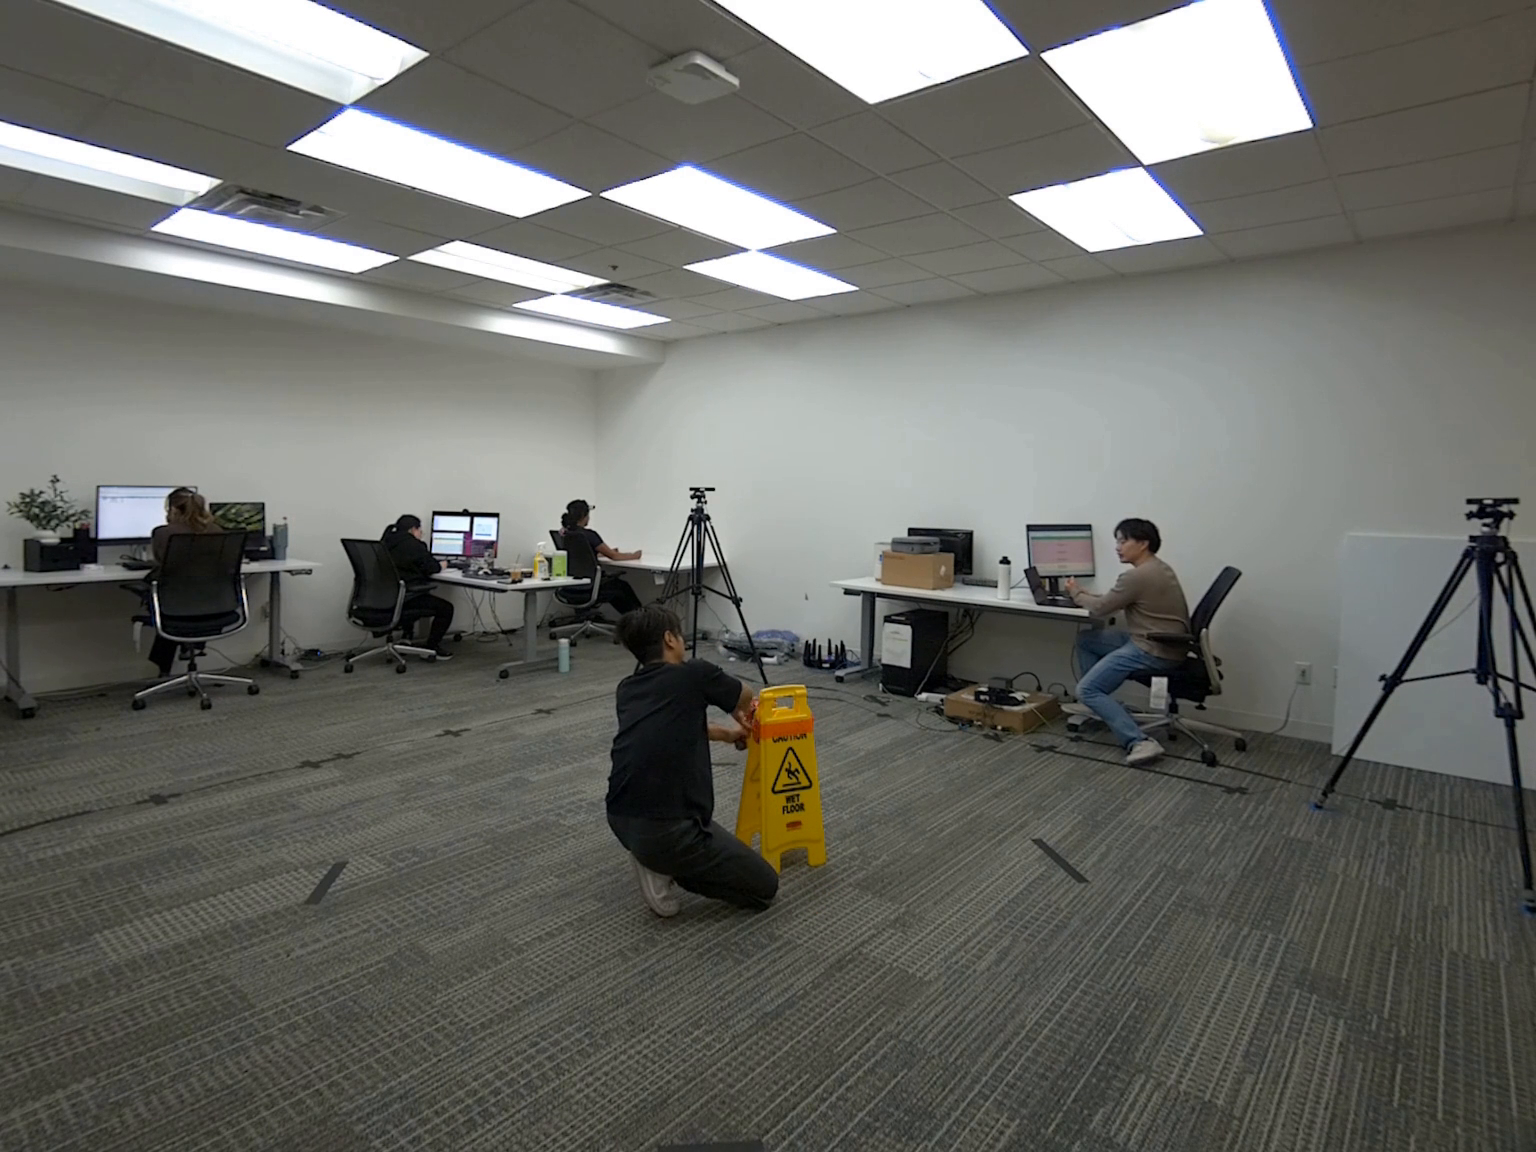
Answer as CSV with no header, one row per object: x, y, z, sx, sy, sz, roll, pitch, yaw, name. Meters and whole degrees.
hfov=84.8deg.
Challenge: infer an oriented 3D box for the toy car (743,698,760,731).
-0.051,0.580,3.325,0.086,0.253,0.126,25,10,40,toy car
